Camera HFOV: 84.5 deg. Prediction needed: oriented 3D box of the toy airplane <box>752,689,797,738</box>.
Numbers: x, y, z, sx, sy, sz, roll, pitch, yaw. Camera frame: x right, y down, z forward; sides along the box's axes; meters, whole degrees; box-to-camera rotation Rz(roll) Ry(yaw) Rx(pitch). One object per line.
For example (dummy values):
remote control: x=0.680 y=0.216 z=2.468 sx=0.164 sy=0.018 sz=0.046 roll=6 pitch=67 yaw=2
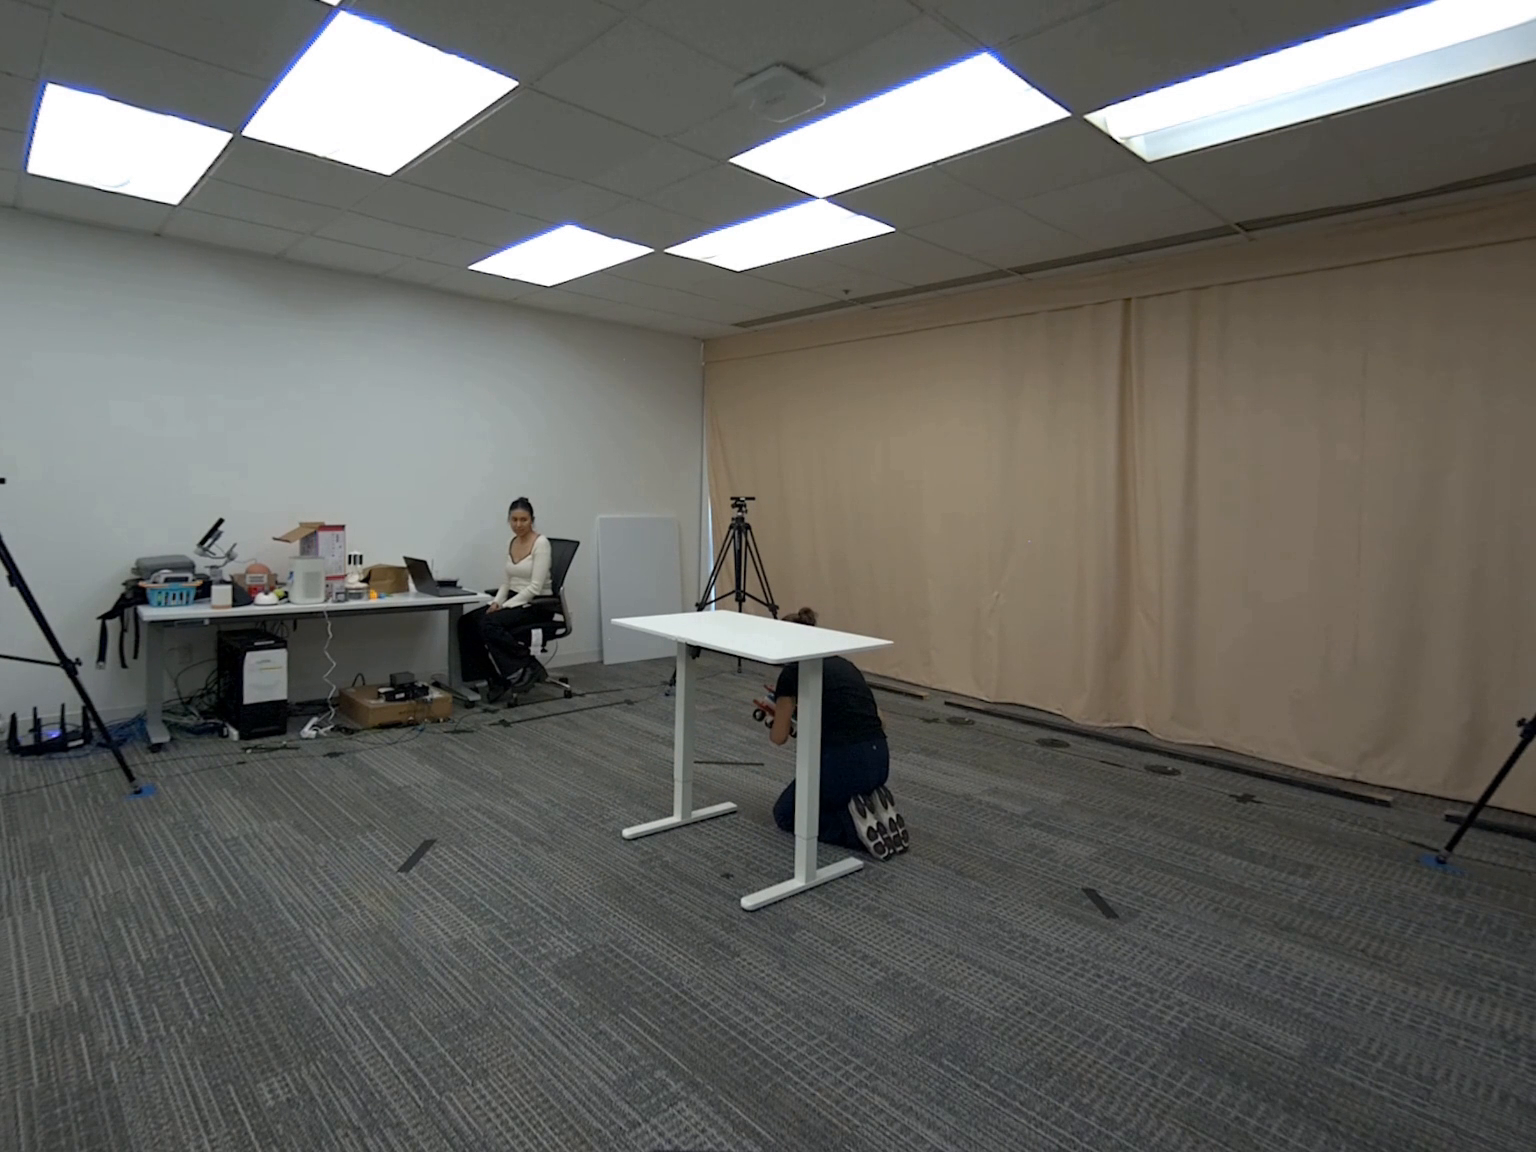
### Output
toy airplane: x=0.065 y=0.580 z=3.566 sx=0.265 sy=0.157 sz=0.244 roll=21 pitch=-16 yaw=22
